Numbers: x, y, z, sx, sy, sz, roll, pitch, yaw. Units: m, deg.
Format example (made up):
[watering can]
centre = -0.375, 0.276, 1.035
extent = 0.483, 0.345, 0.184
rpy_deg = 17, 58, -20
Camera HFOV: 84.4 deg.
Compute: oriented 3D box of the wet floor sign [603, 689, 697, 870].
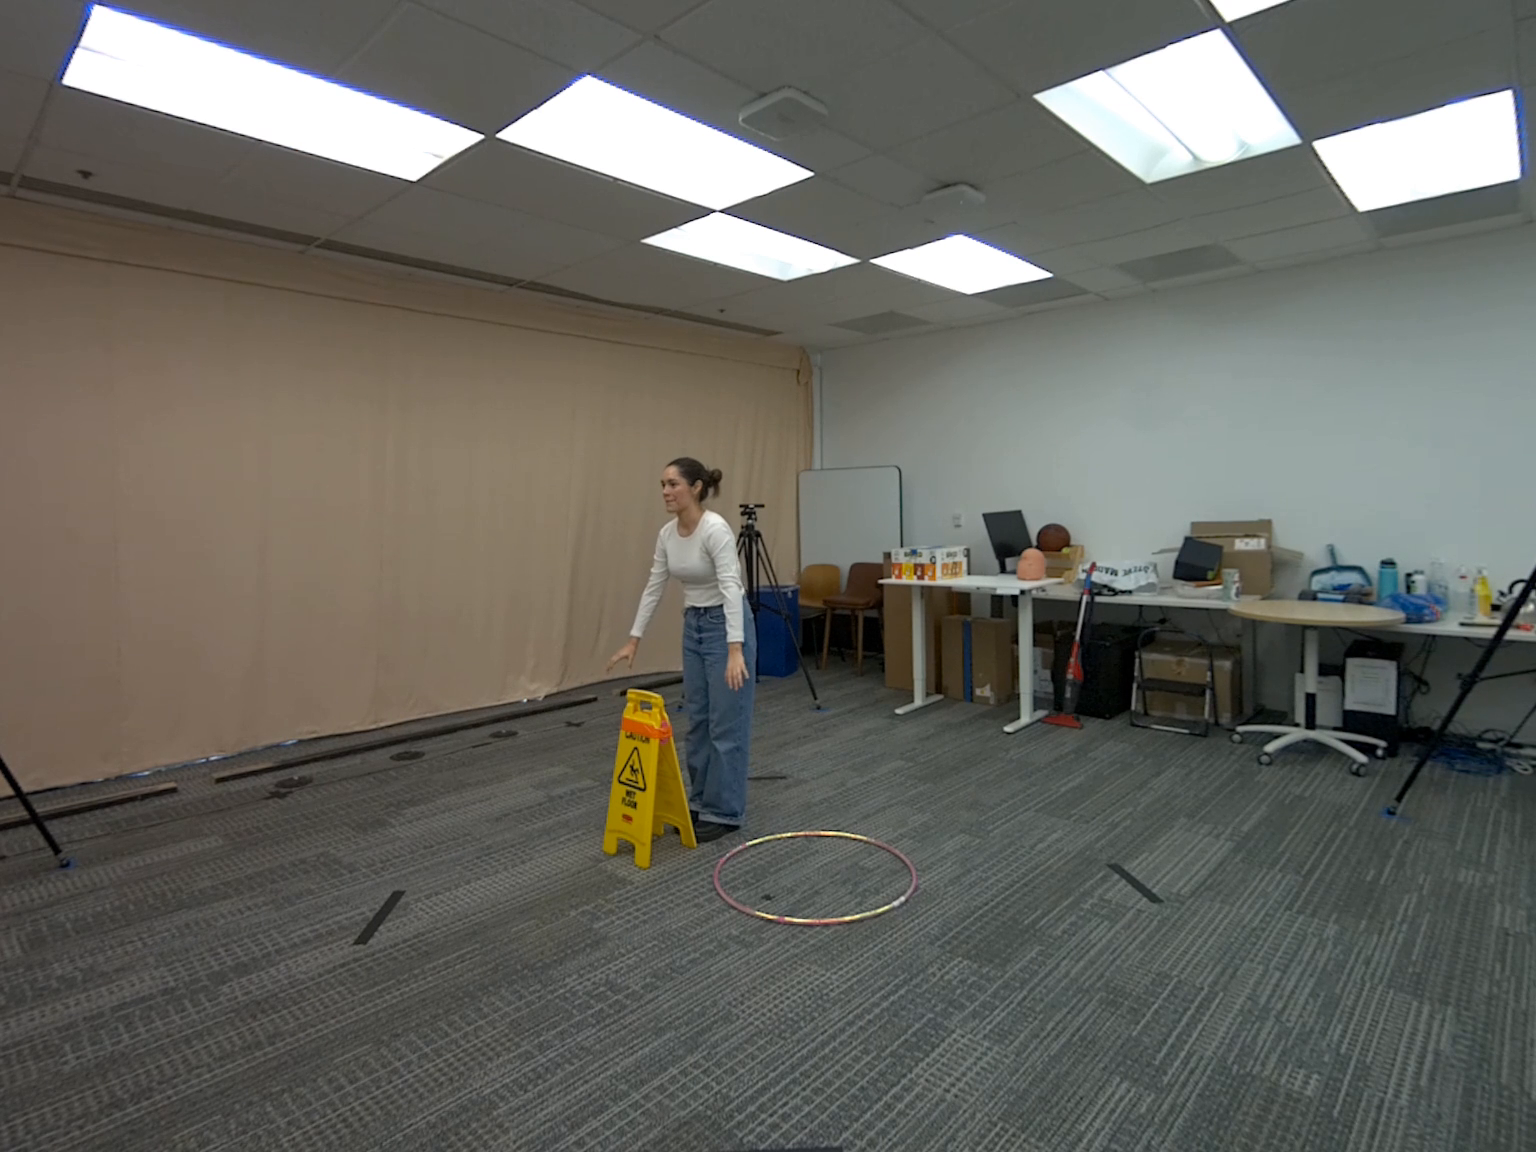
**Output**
[wet floor sign]
centre = -0.490, 0.790, 3.410
extent = 0.291, 0.645, 0.281
rpy_deg = 0, 4, 43
